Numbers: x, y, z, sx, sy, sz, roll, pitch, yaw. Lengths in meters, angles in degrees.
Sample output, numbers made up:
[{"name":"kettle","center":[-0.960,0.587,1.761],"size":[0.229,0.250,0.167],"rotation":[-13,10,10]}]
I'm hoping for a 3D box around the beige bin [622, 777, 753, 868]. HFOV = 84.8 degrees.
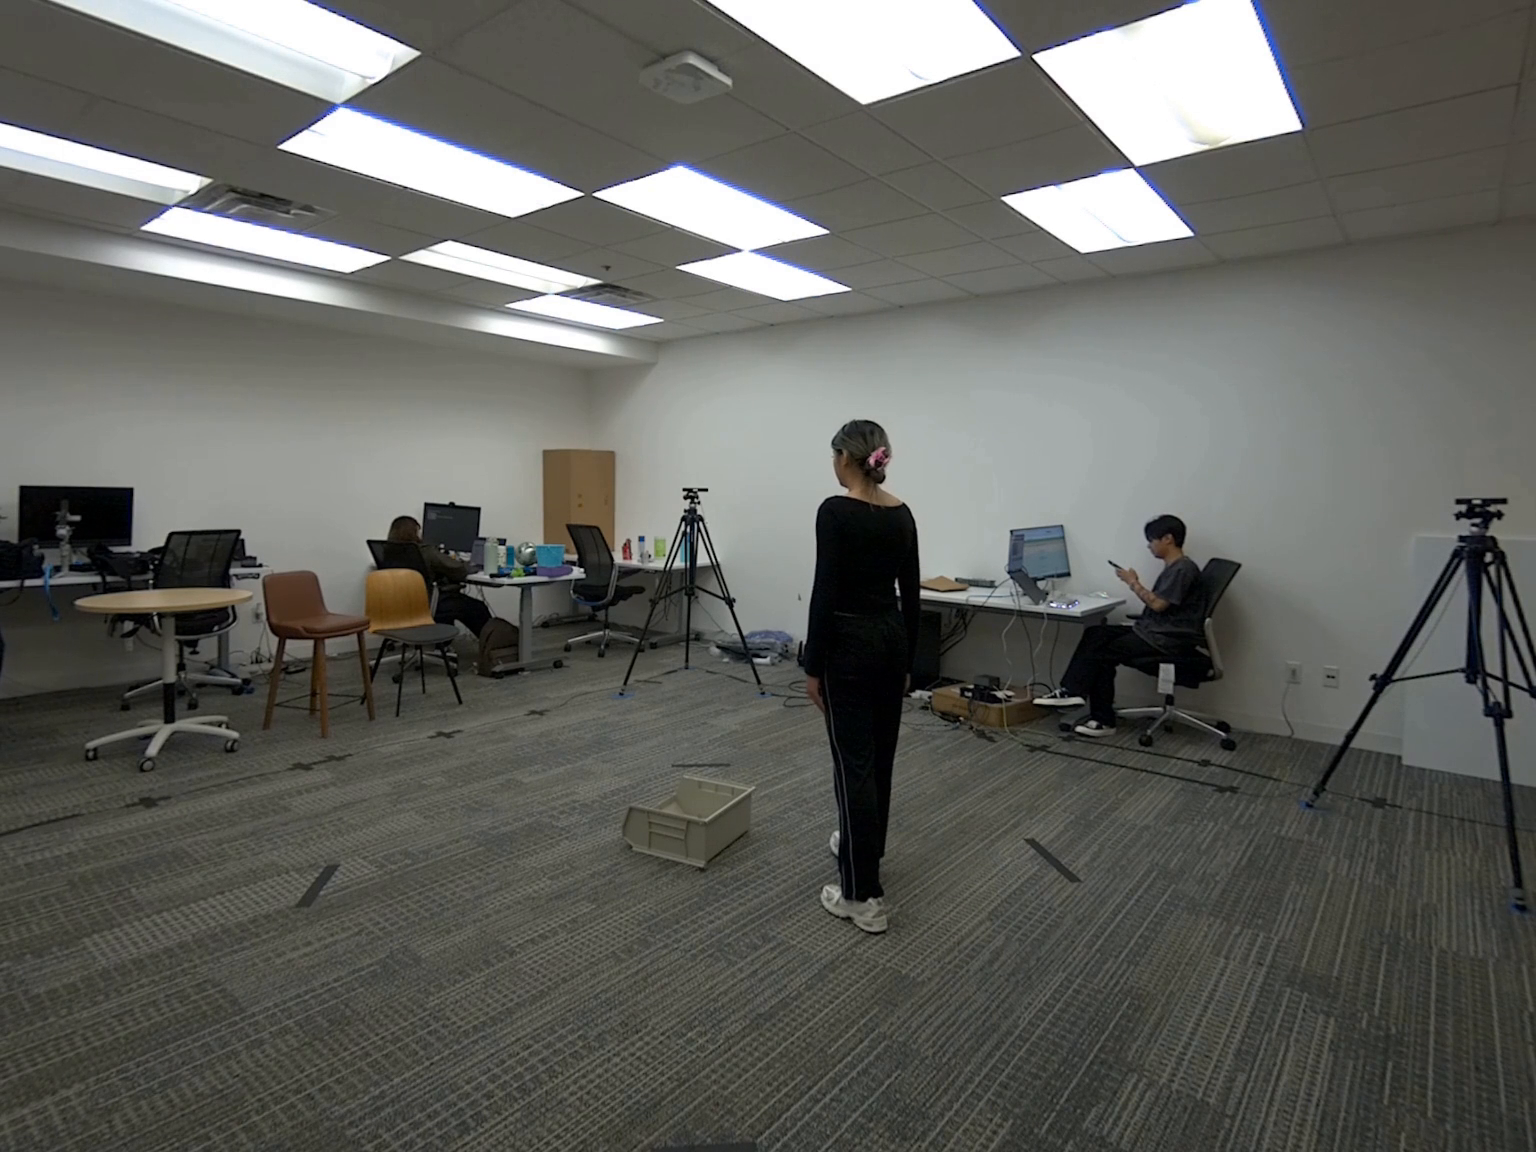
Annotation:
[{"name":"beige bin","center":[-0.320,0.956,3.377],"size":[0.388,0.188,0.412],"rotation":[4,6,26]}]
